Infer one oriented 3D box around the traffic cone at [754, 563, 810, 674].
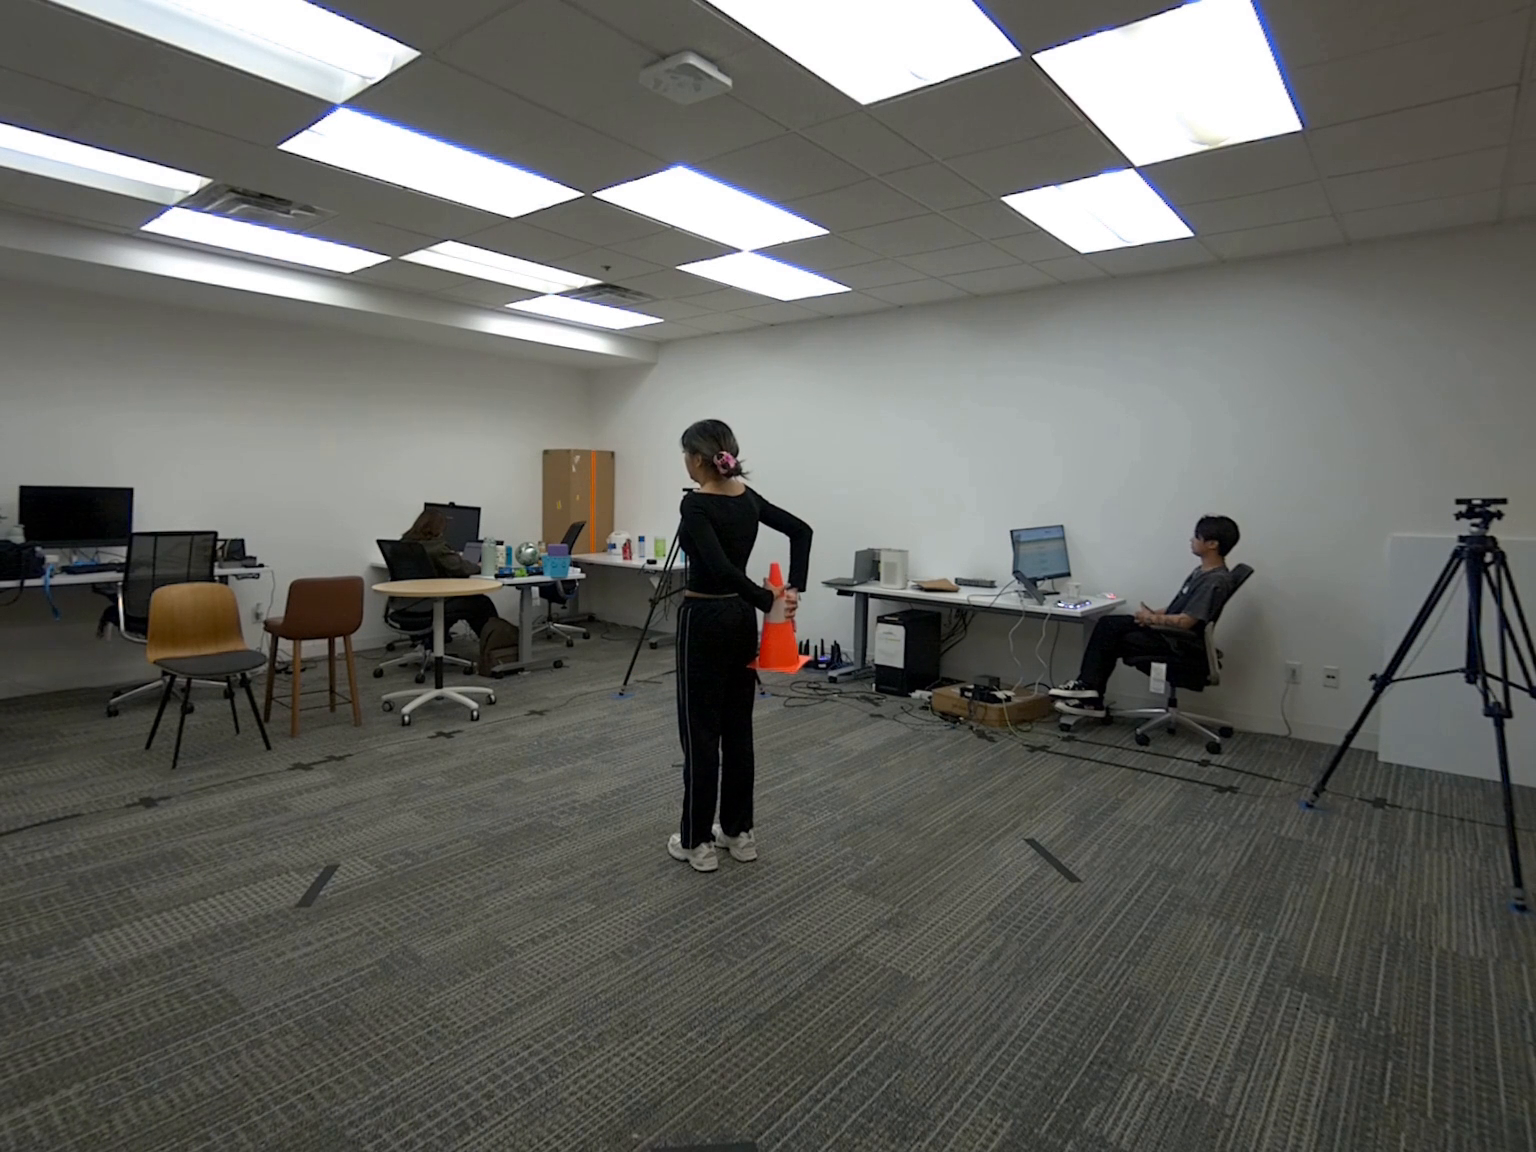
[{"bbox_3d":[0.021,0.141,3.183,0.209,0.380,0.201,3,11,28],"label":"traffic cone"}]
